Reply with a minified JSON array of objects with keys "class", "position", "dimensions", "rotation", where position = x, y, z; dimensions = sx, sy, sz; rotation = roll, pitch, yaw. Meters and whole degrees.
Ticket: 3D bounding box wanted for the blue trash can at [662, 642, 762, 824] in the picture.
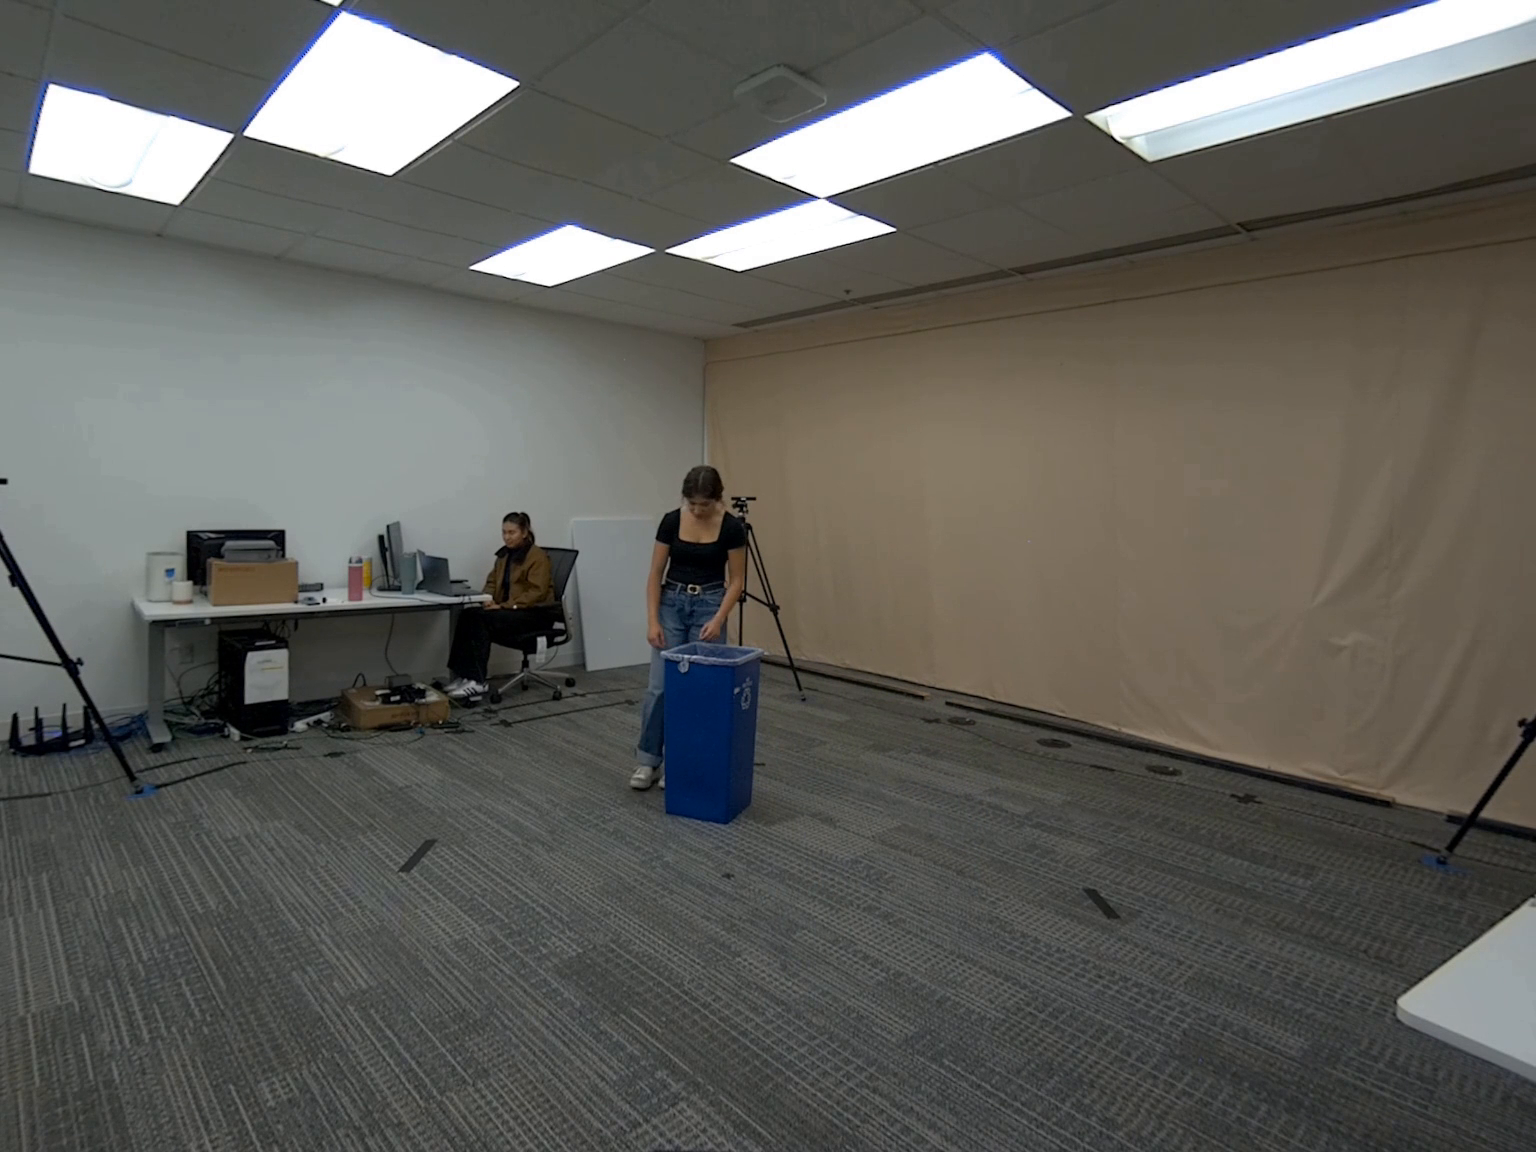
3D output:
[{"class":"blue trash can","position":[-0.261,0.689,3.781],"dimensions":[0.385,0.712,0.368],"rotation":[3,4,21]}]
